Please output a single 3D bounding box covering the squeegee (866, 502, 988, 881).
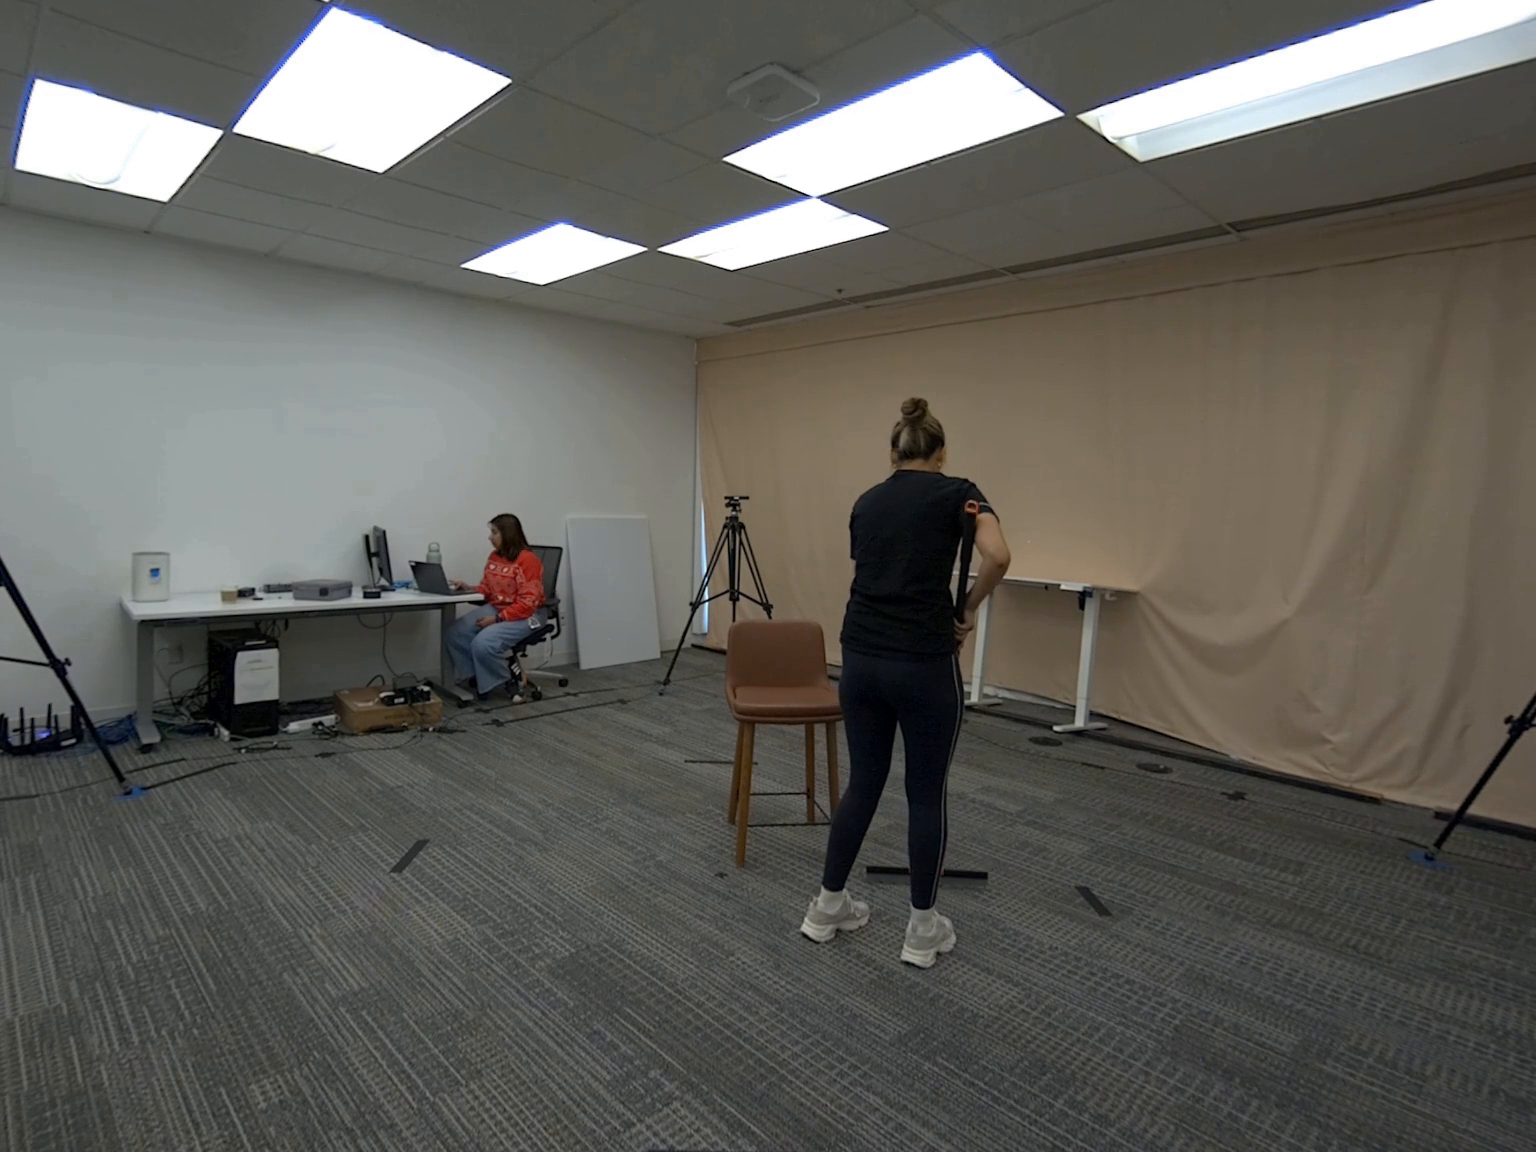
[{"bbox_3d":[0.567,0.468,2.687,0.439,1.506,0.054,4,34,5],"label":"squeegee"}]
